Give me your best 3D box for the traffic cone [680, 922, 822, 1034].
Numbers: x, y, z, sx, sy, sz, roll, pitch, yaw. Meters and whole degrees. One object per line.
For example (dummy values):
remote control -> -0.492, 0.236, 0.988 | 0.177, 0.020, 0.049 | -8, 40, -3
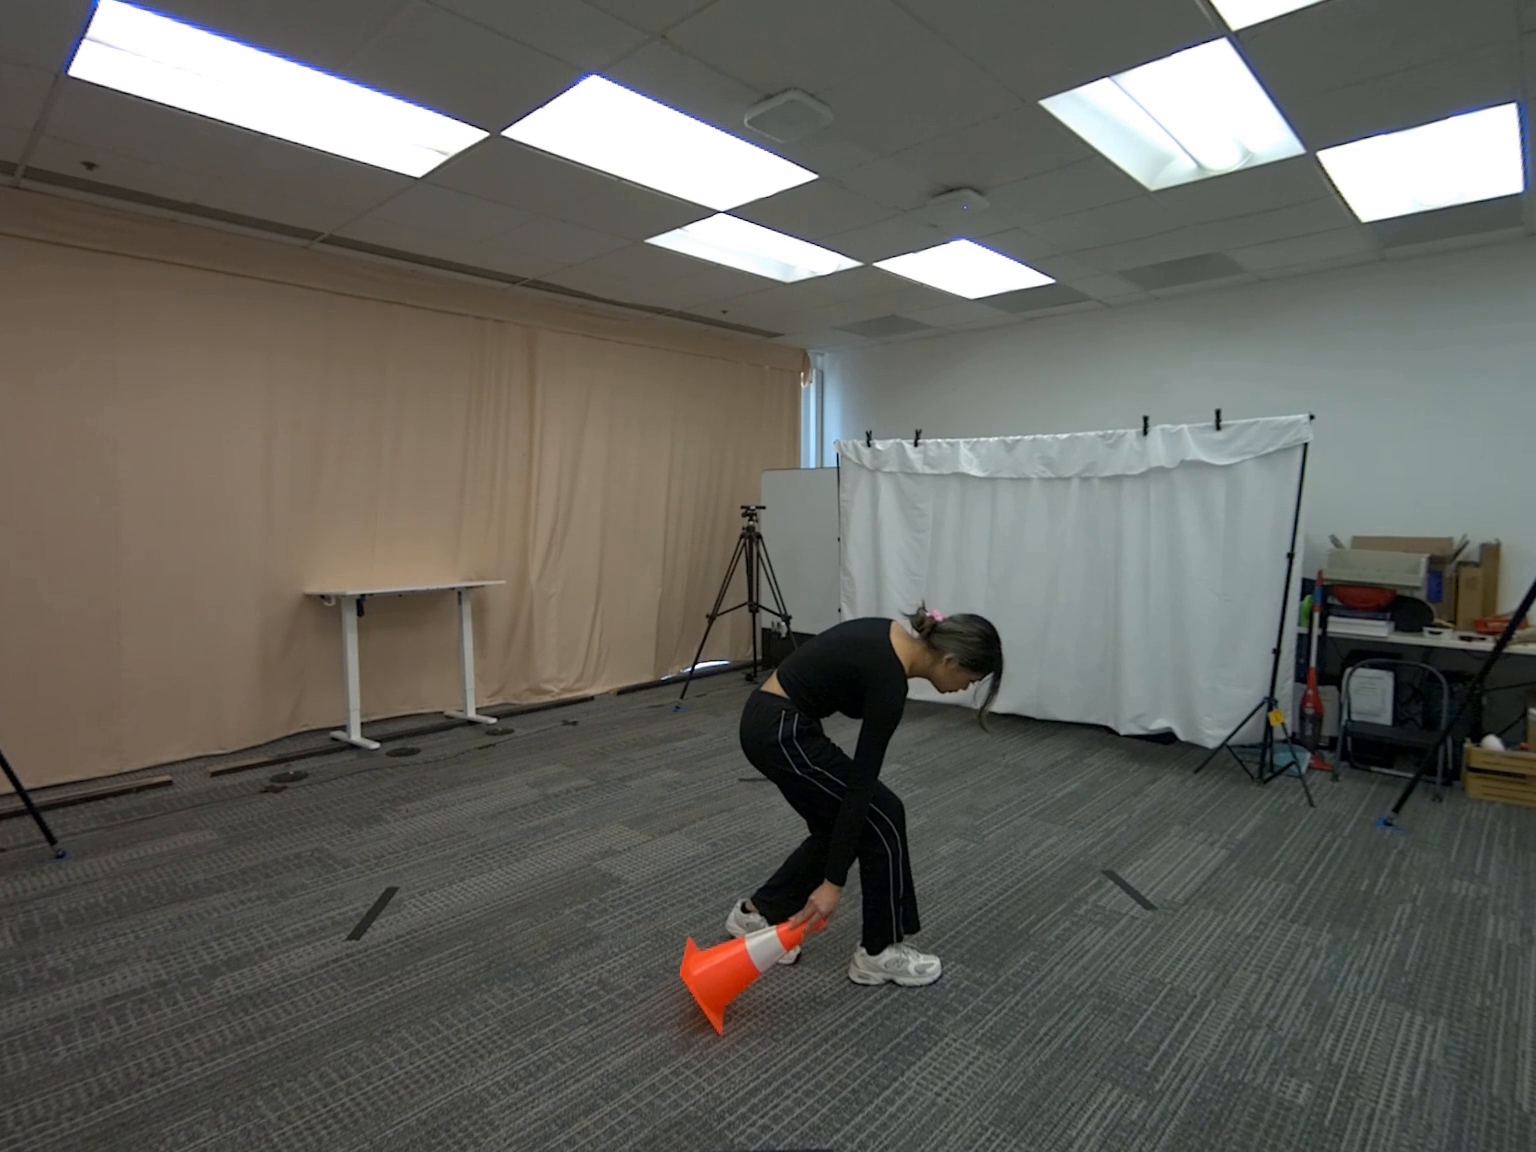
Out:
traffic cone -> -0.015, 1.019, 2.276 | 0.385, 0.204, 0.204 | -33, 0, 7
